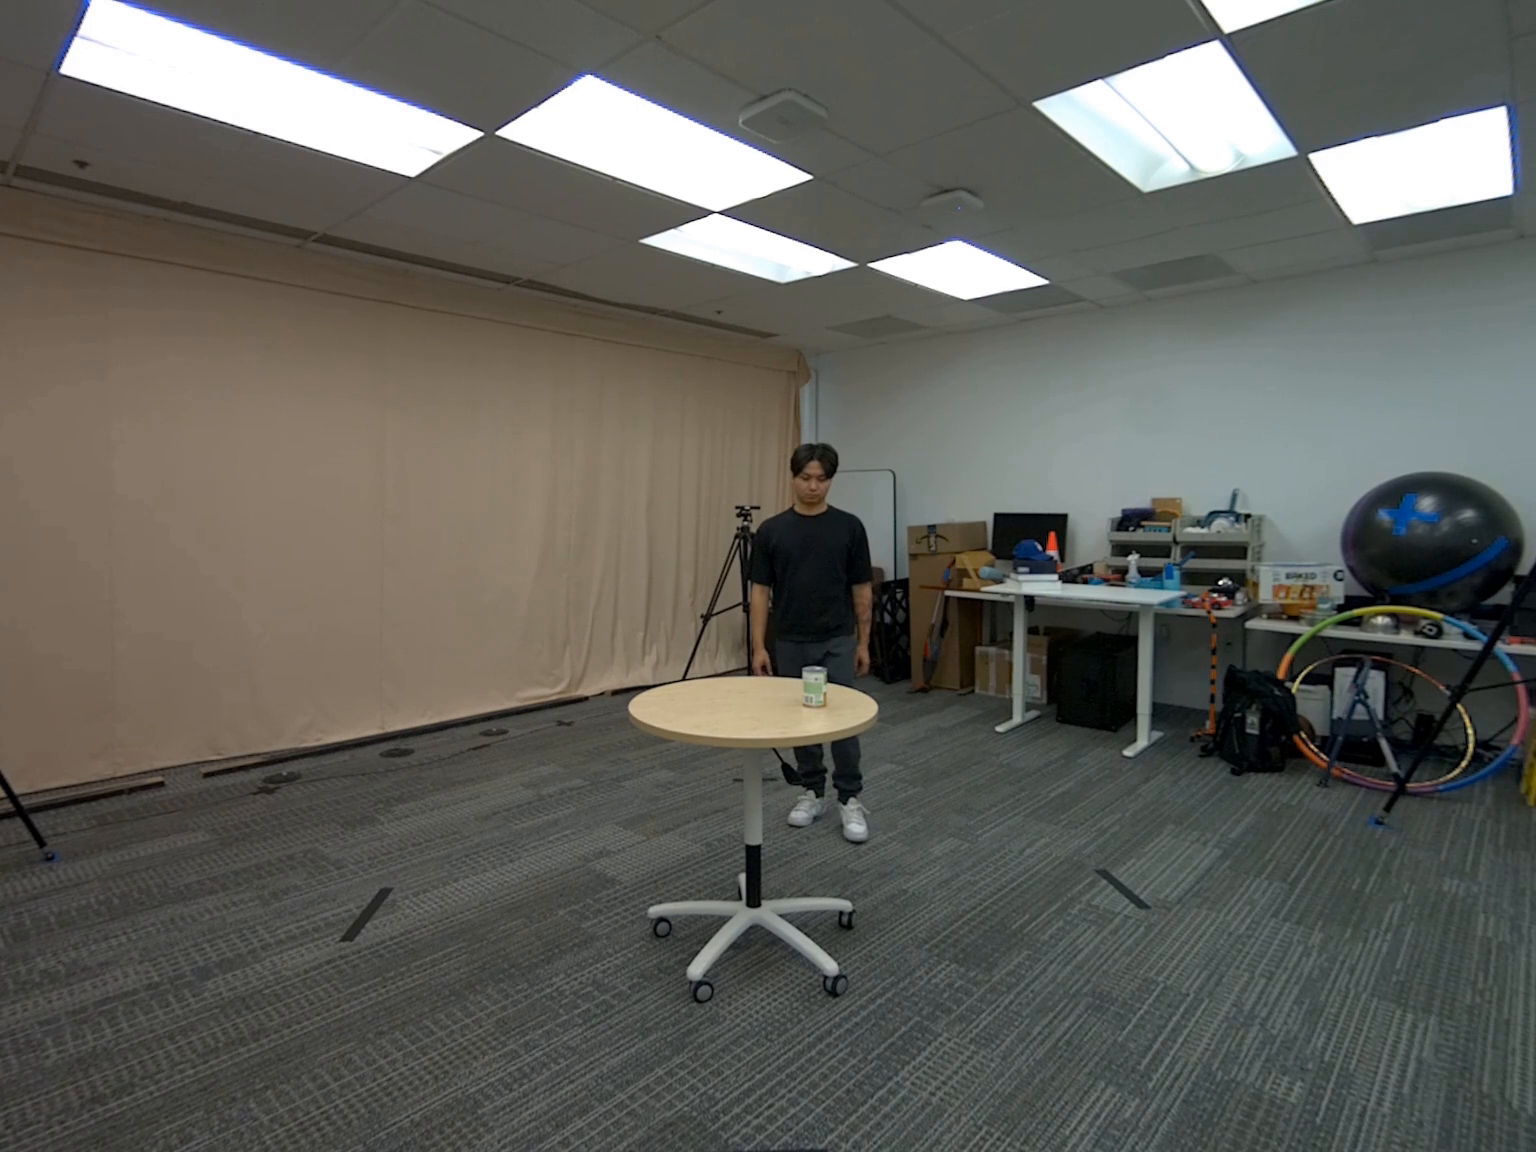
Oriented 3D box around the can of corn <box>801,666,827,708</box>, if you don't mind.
[{"bbox_3d":[0.148,0.337,2.572,0.074,0.111,0.074,1,5,-2],"label":"can of corn"}]
